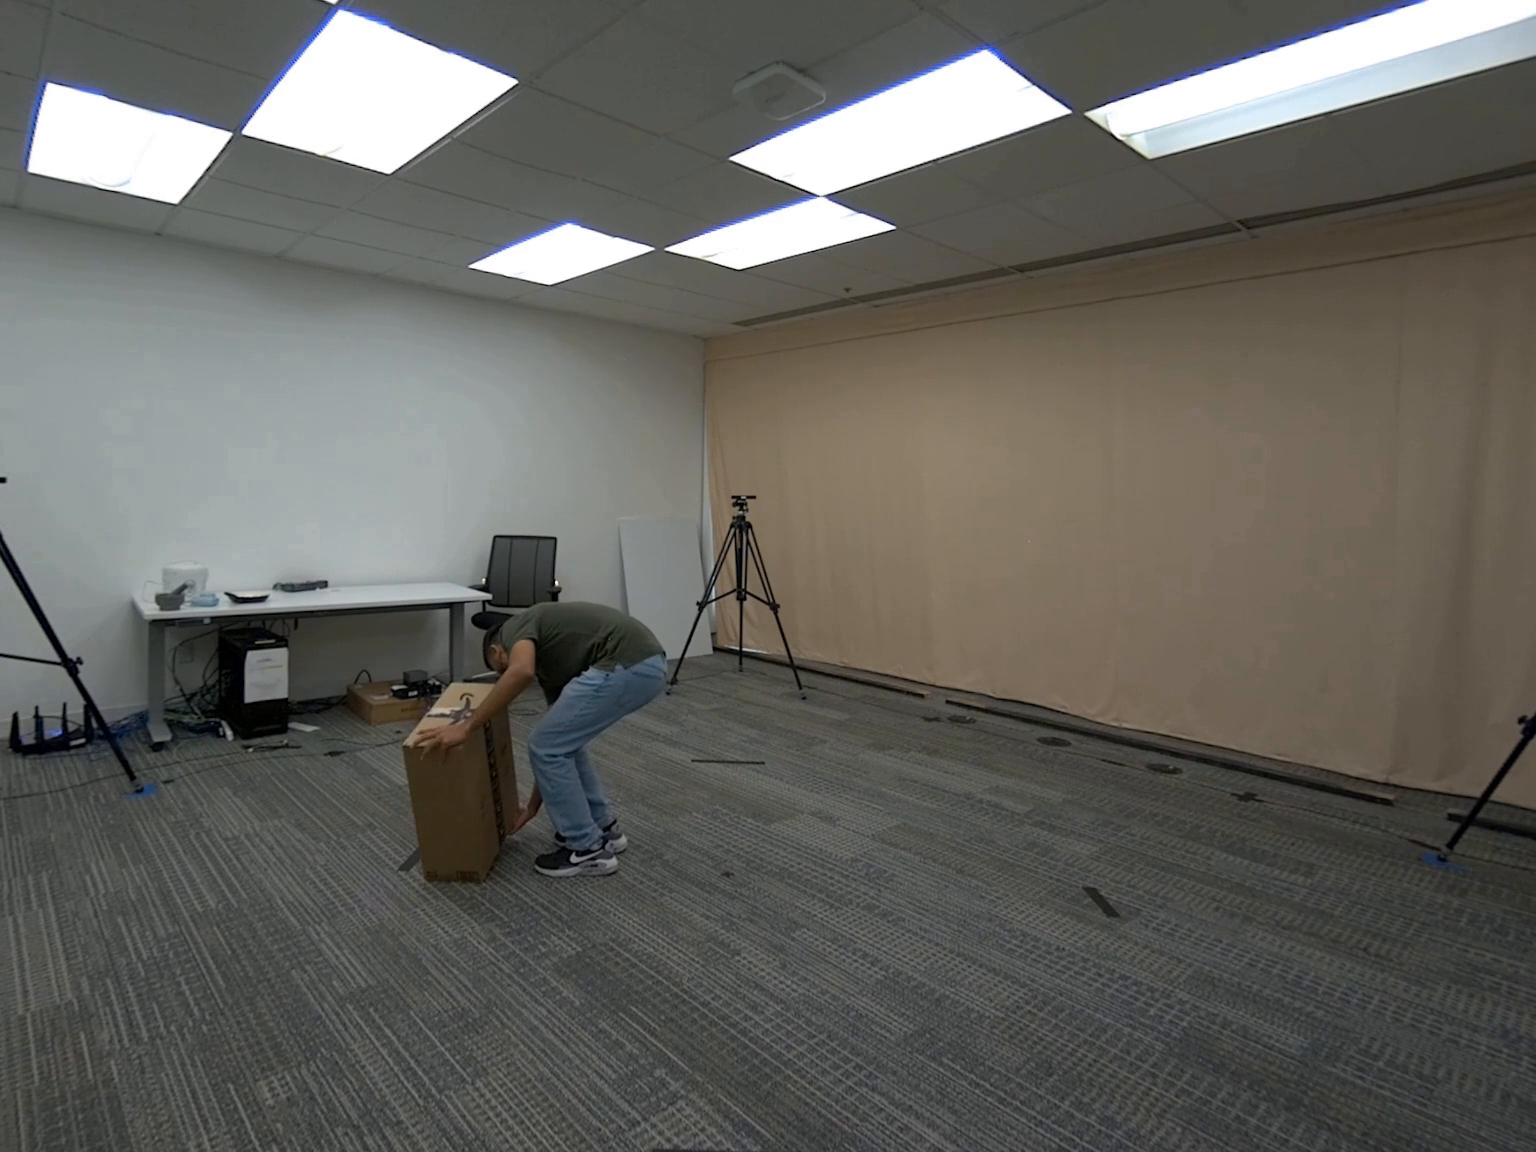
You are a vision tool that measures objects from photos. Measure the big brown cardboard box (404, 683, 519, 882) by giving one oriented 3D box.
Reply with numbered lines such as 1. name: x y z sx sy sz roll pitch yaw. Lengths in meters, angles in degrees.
1. big brown cardboard box: -1.127 0.756 3.097 0.233 0.581 0.422 1 18 1
